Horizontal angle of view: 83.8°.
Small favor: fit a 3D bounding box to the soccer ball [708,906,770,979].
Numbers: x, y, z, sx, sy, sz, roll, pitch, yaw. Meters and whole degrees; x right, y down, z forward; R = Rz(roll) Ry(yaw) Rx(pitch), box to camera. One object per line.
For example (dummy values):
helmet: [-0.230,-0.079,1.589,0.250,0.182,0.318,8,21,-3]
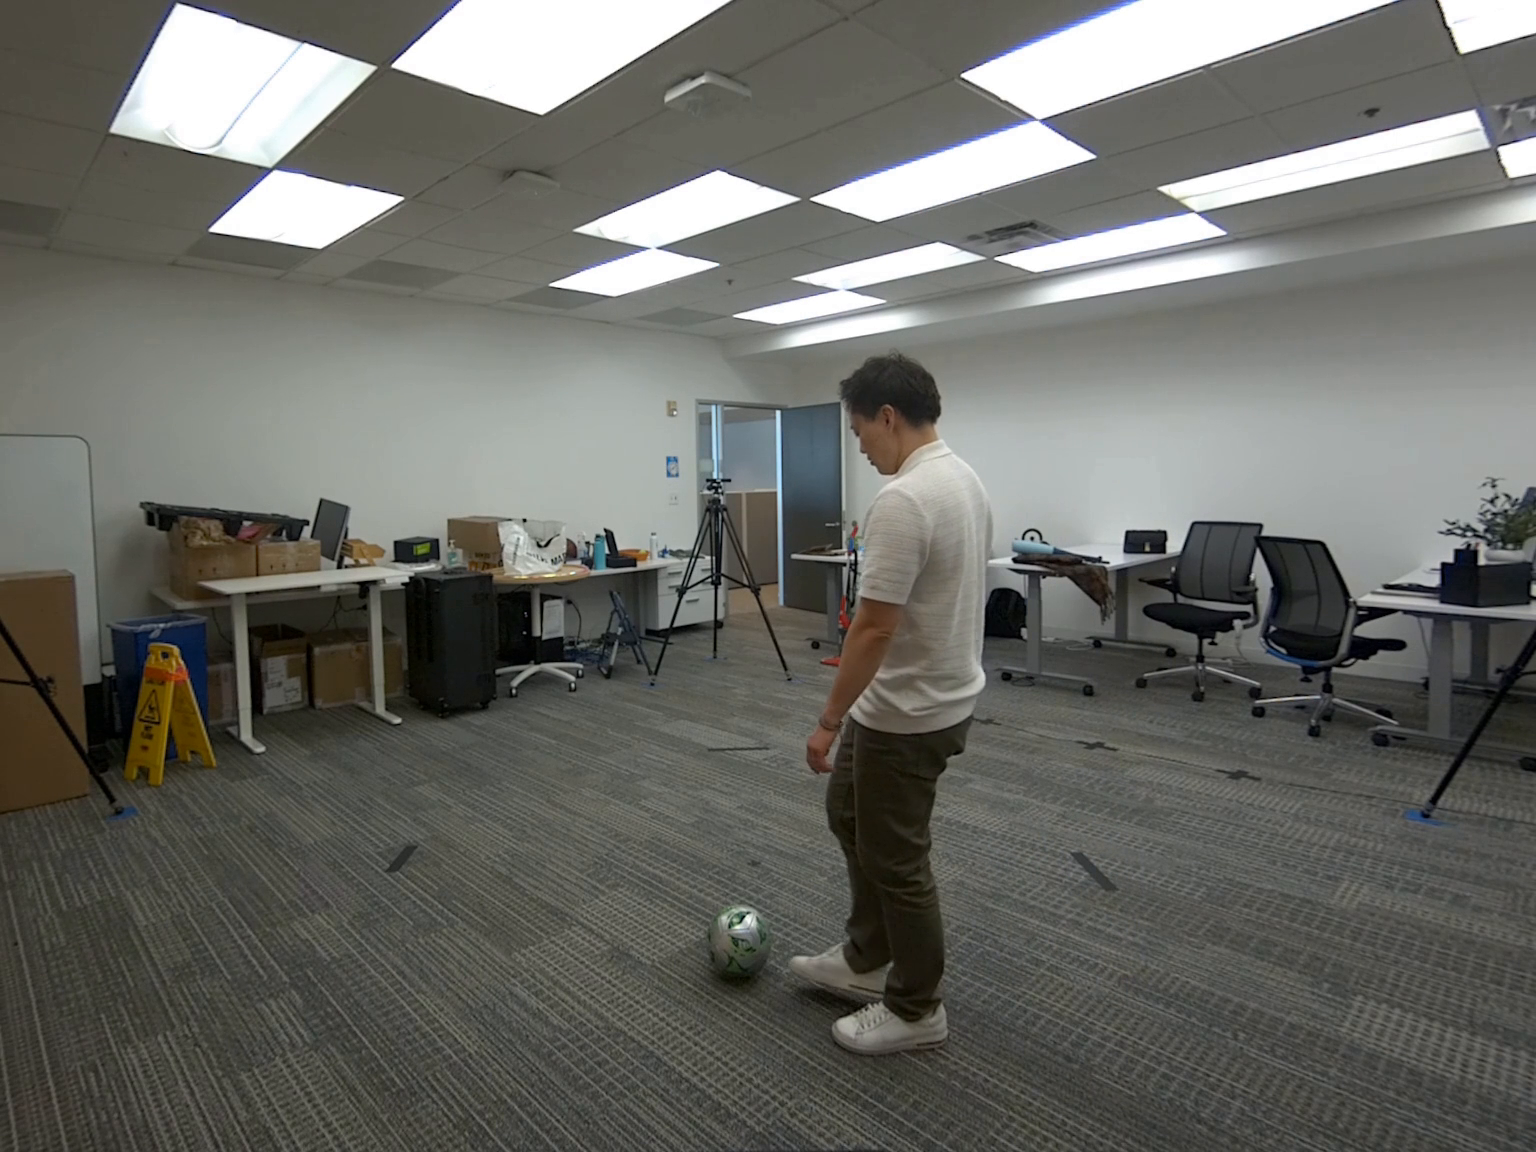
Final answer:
soccer ball: [-0.079,1.033,2.415,0.187,0.187,0.188,-1,5,-2]
